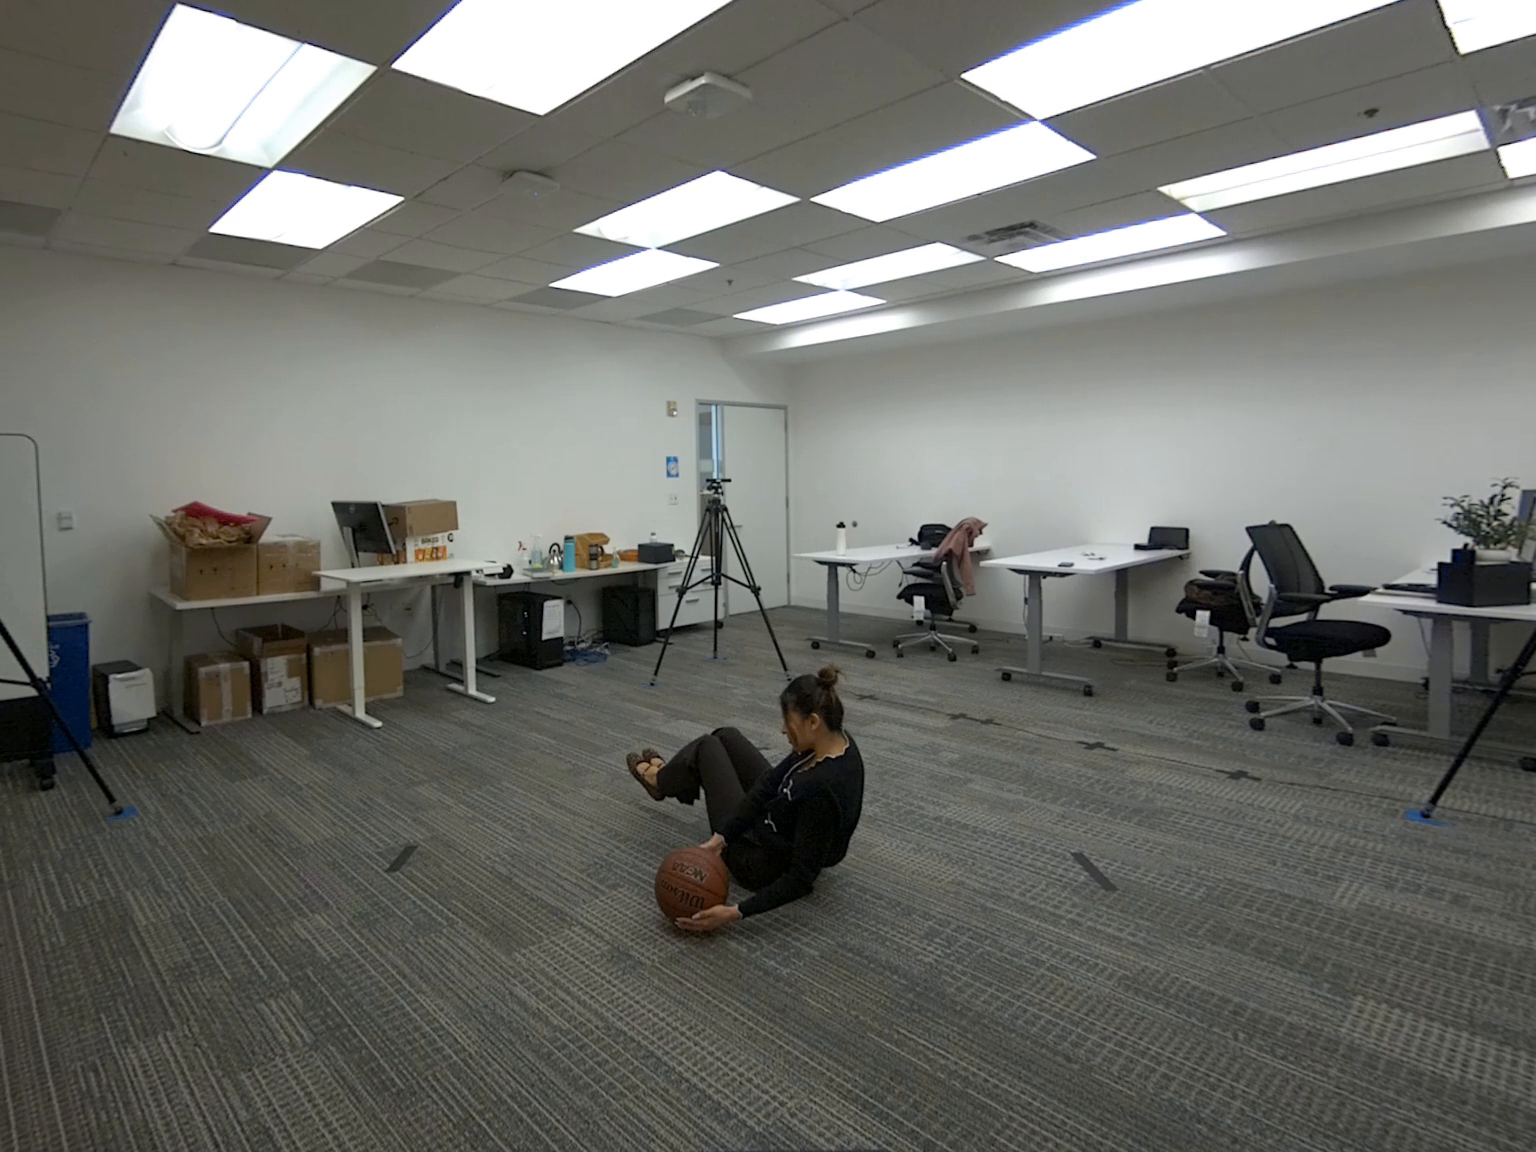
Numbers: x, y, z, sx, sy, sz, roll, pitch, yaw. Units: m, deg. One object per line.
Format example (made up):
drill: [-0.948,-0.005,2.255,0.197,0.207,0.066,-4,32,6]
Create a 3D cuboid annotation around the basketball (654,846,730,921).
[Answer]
basketball: [-0.241,0.979,2.693,0.236,0.235,0.237,-1,5,-2]
